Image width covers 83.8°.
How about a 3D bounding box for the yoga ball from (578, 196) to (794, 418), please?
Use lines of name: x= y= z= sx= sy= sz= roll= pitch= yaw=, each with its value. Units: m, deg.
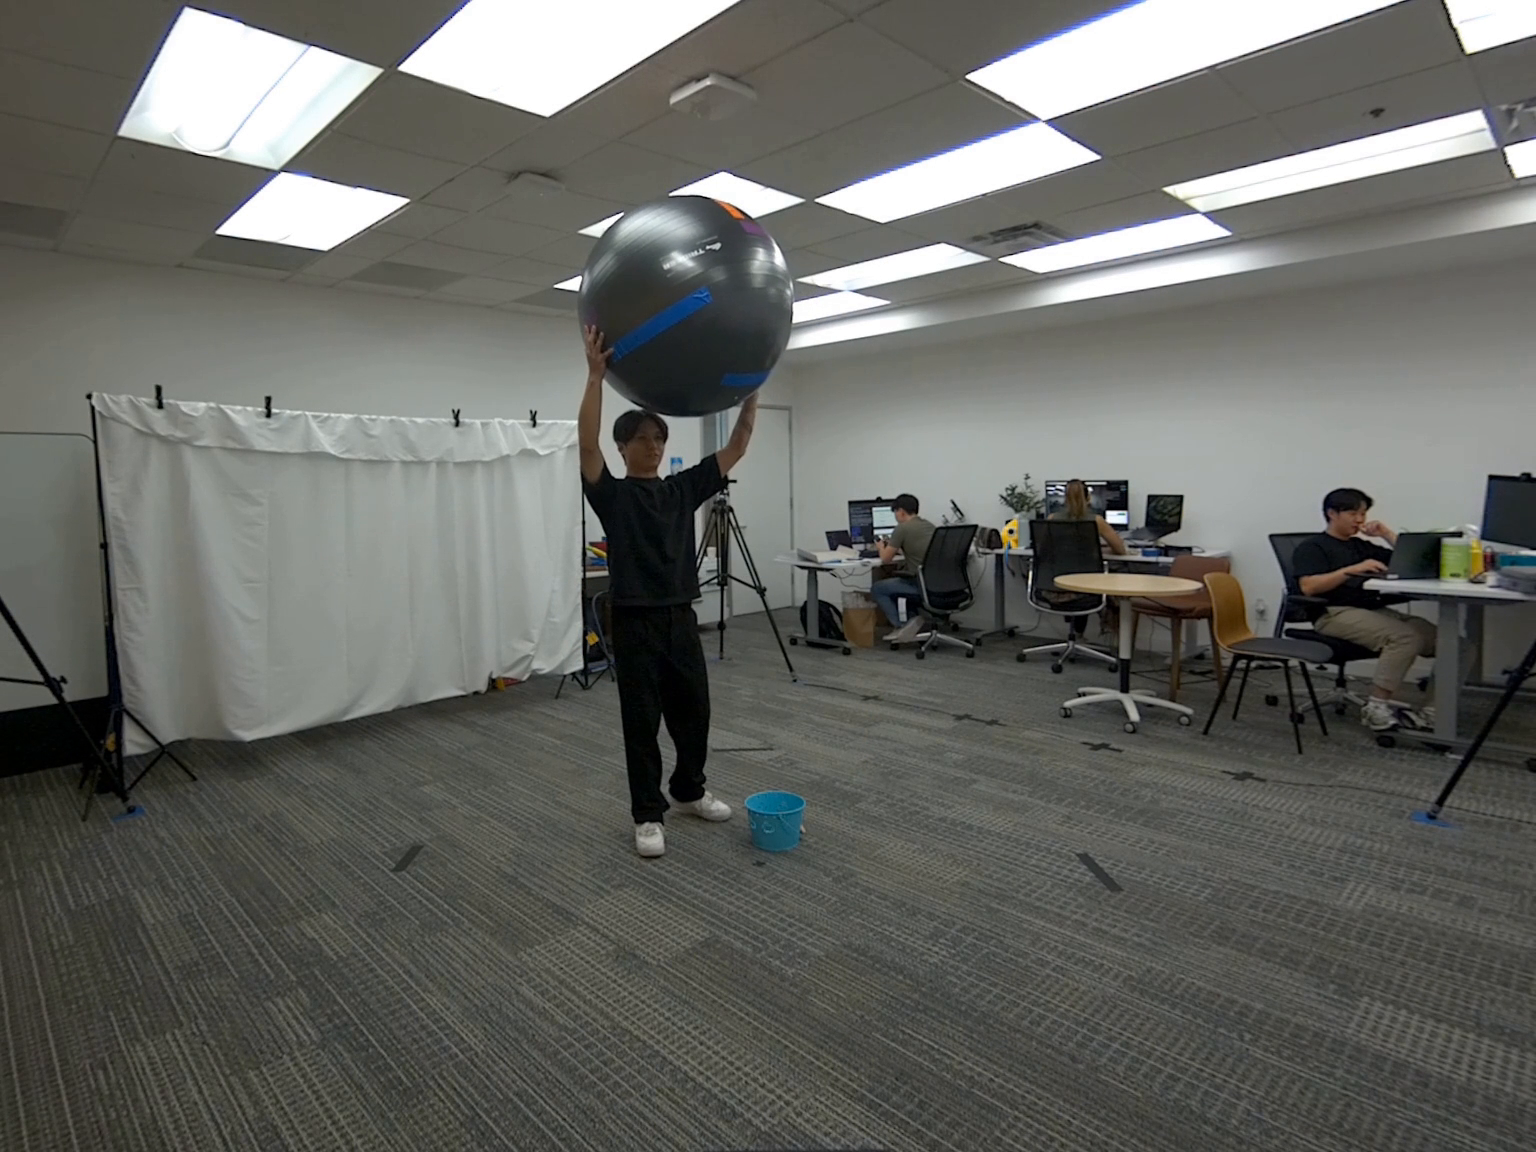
yoga ball: x=-0.292 y=-0.934 z=3.012 sx=0.757 sy=0.755 sz=0.762 roll=-1 pitch=5 yaw=-2
